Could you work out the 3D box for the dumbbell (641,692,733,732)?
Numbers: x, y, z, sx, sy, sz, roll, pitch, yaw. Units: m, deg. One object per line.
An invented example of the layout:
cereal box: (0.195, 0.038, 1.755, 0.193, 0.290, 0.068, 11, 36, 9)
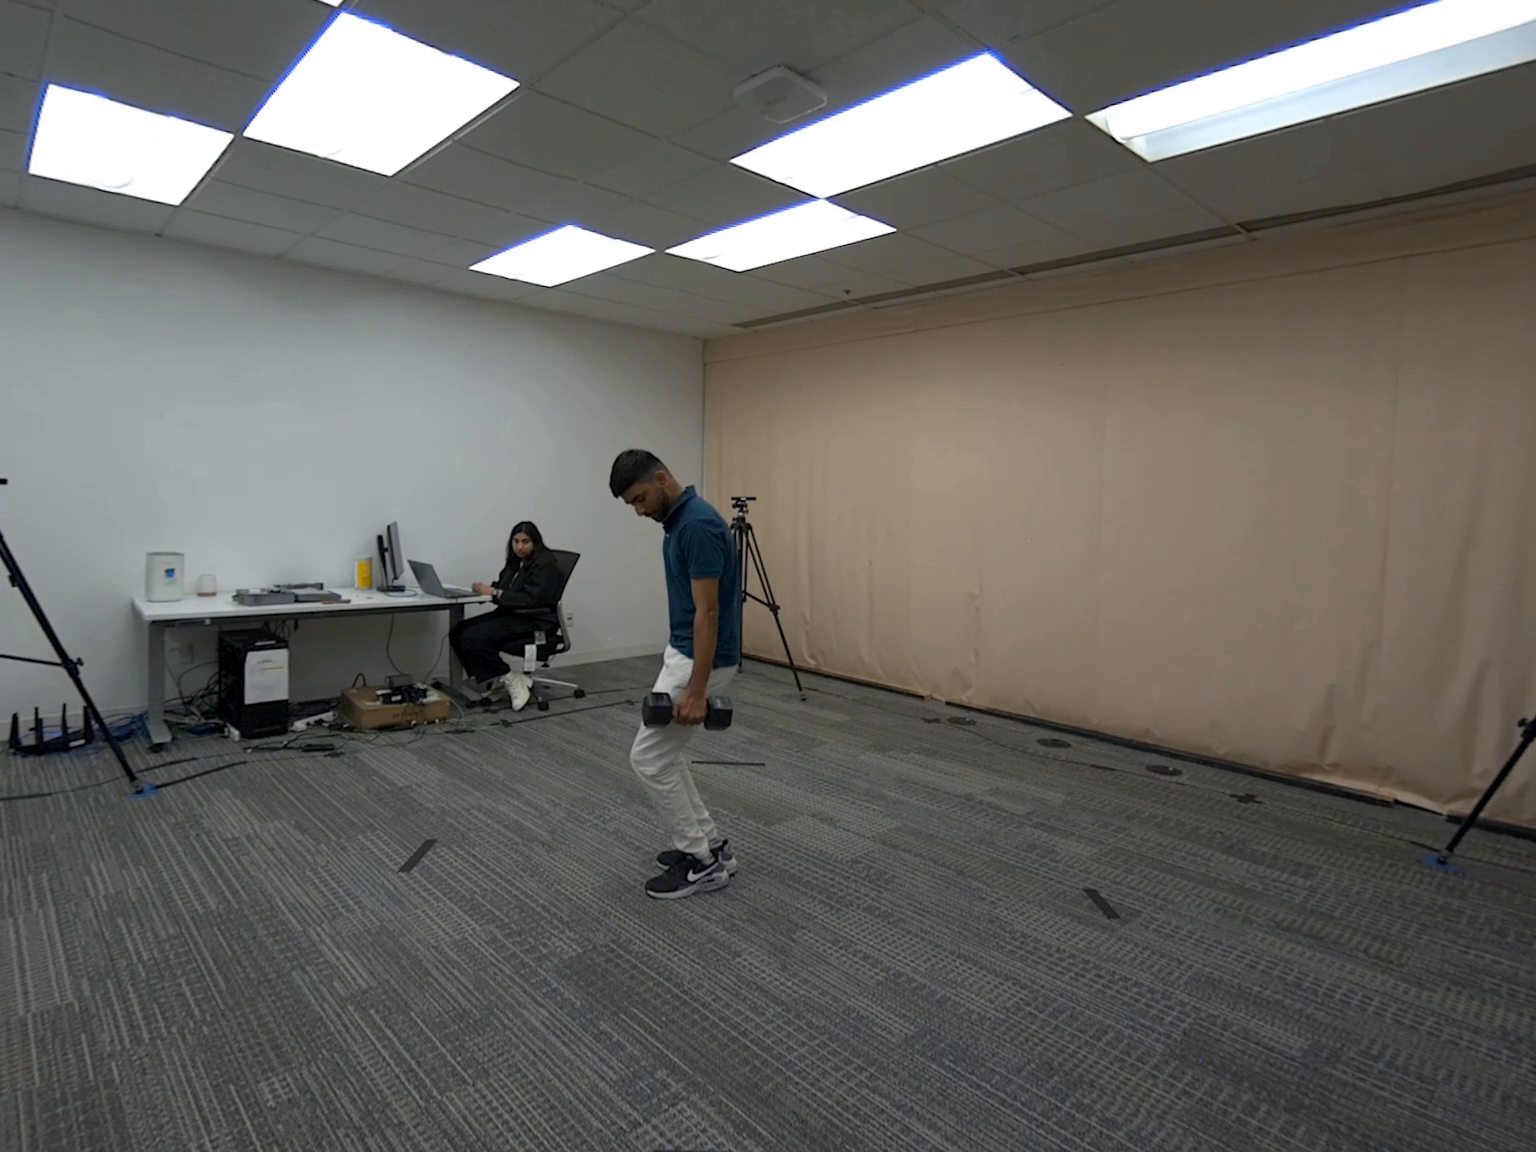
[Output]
dumbbell: (-0.277, 0.456, 2.822, 0.289, 0.122, 0.111, 5, 5, -20)
